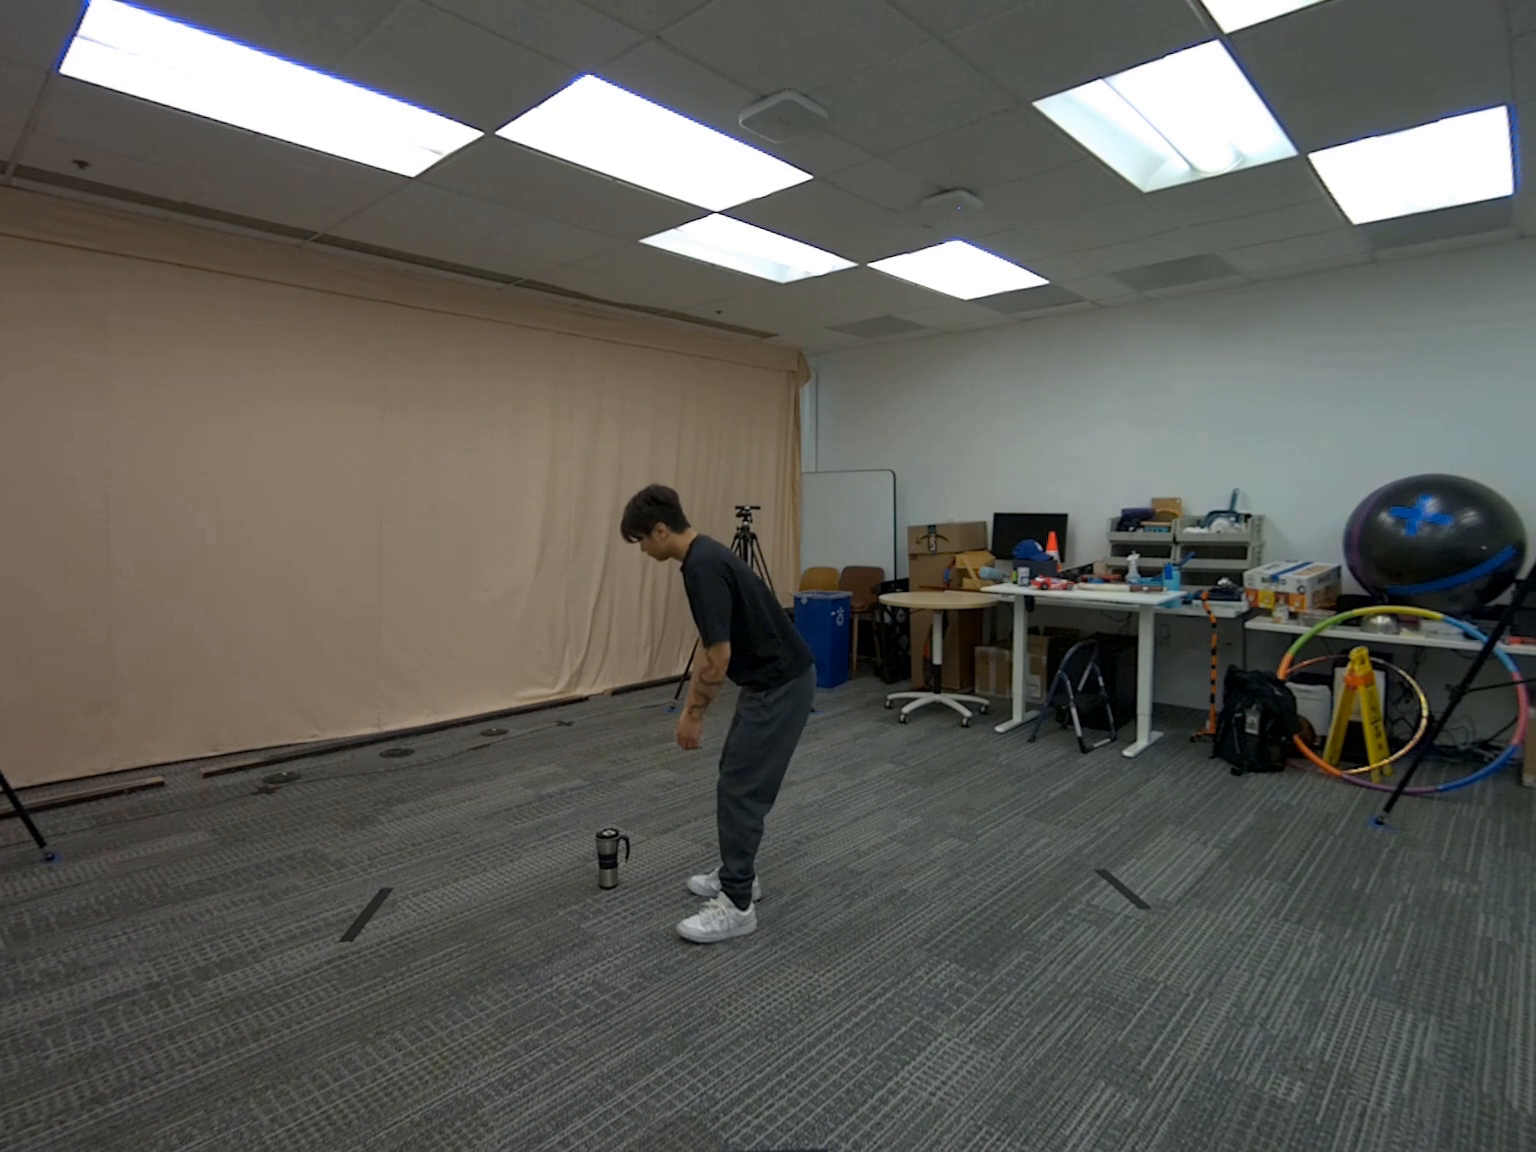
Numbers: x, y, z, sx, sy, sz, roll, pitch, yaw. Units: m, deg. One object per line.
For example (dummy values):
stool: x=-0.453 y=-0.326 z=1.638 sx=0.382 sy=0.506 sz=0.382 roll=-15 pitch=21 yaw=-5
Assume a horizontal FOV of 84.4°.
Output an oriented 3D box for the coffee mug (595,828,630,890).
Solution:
coffee mug: x=-0.577 y=1.044 z=3.077 sx=0.126 sy=0.203 sz=0.085 roll=-3 pitch=-2 yaw=37
